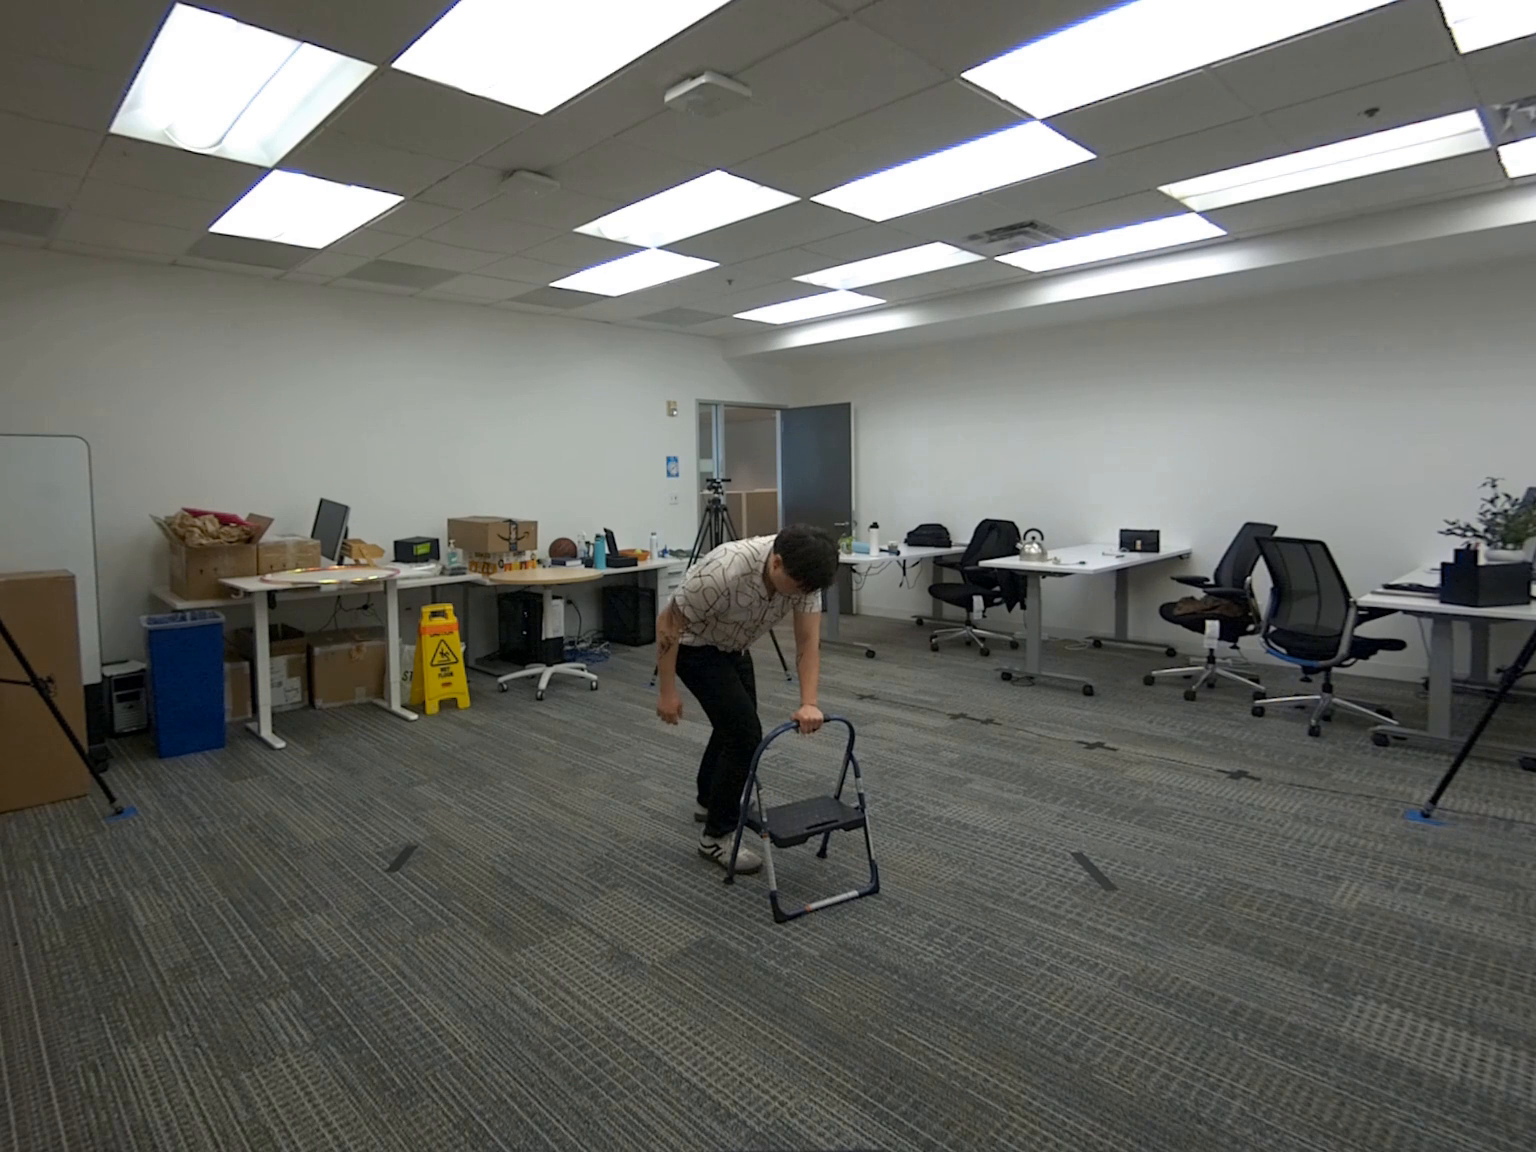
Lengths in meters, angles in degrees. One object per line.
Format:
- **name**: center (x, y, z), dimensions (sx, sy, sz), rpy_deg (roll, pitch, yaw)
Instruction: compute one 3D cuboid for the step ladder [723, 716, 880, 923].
- **step ladder**: center (0.111, 0.759, 2.903), dimensions (0.420, 0.604, 0.359), rpy_deg (-3, 5, -31)
